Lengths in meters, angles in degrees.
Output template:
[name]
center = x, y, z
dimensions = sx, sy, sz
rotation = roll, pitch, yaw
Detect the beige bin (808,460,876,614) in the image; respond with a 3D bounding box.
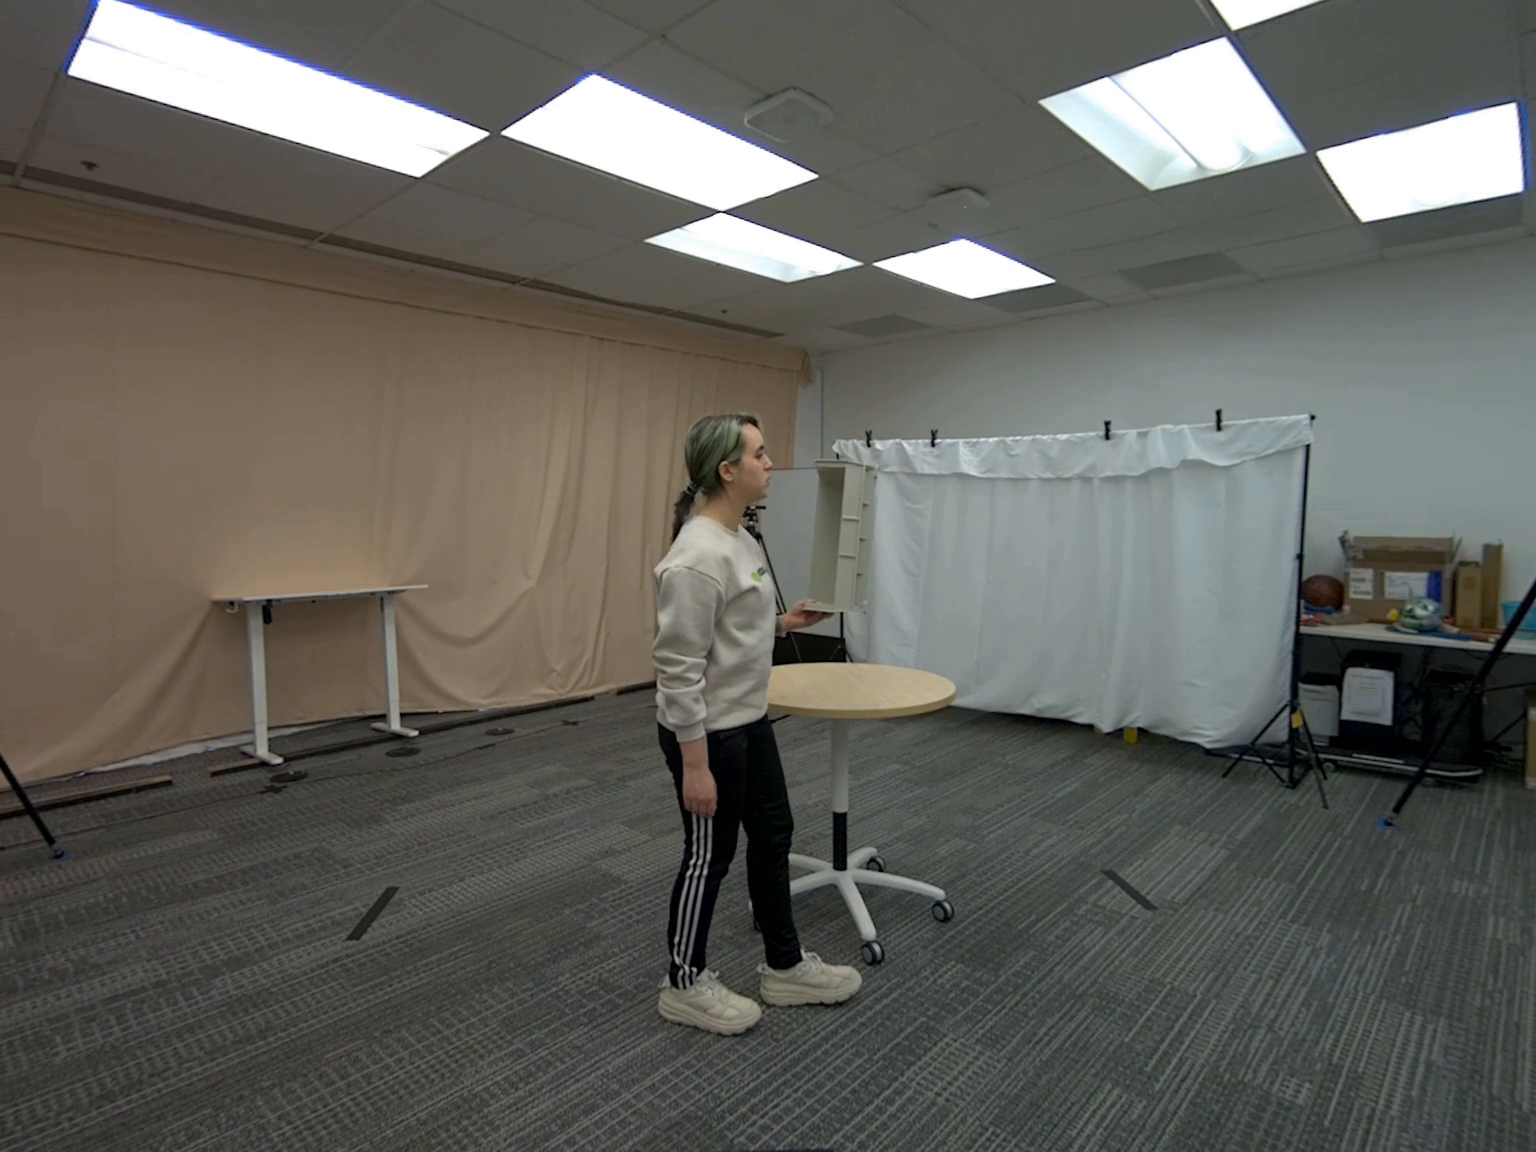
[beige bin]
center = 0.211, -0.108, 2.487
dimensions = 0.190, 0.422, 0.374
rotation = 3, -1, 5
